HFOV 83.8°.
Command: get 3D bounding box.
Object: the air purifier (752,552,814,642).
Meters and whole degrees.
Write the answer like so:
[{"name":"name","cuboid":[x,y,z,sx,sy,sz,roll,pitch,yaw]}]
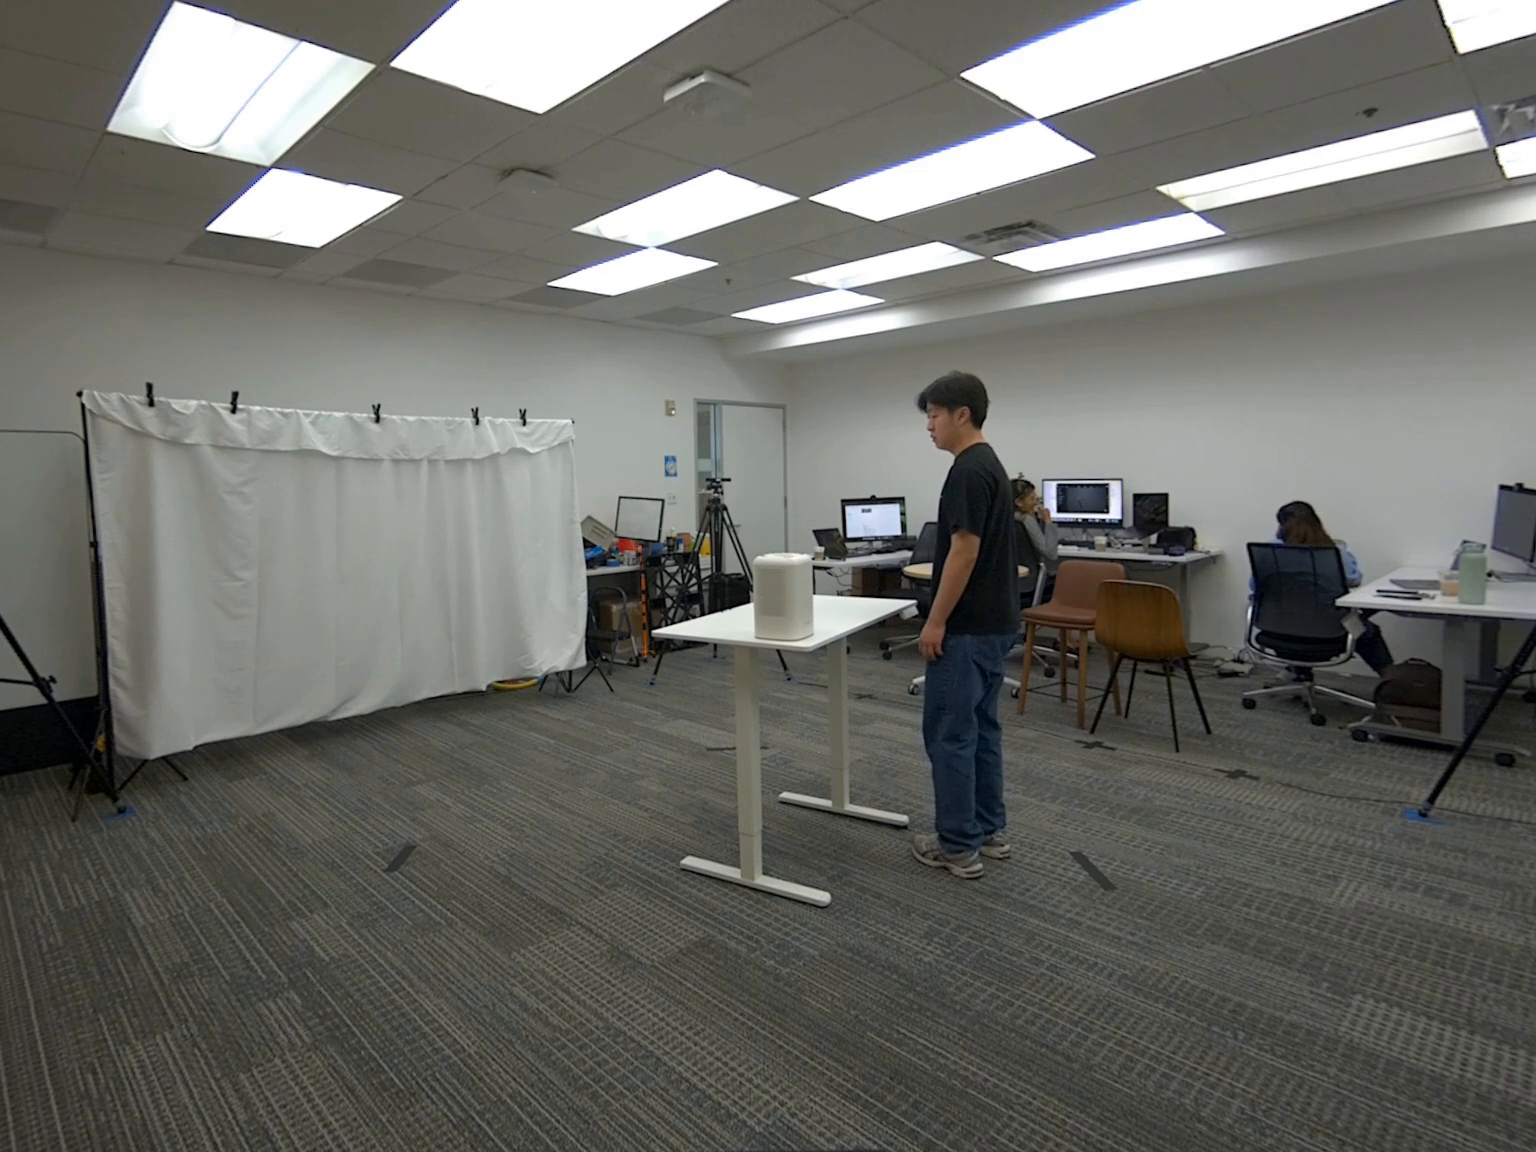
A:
[{"name":"air purifier","cuboid":[0.052,0.065,2.781,0.176,0.264,0.167,2,5,30]}]
